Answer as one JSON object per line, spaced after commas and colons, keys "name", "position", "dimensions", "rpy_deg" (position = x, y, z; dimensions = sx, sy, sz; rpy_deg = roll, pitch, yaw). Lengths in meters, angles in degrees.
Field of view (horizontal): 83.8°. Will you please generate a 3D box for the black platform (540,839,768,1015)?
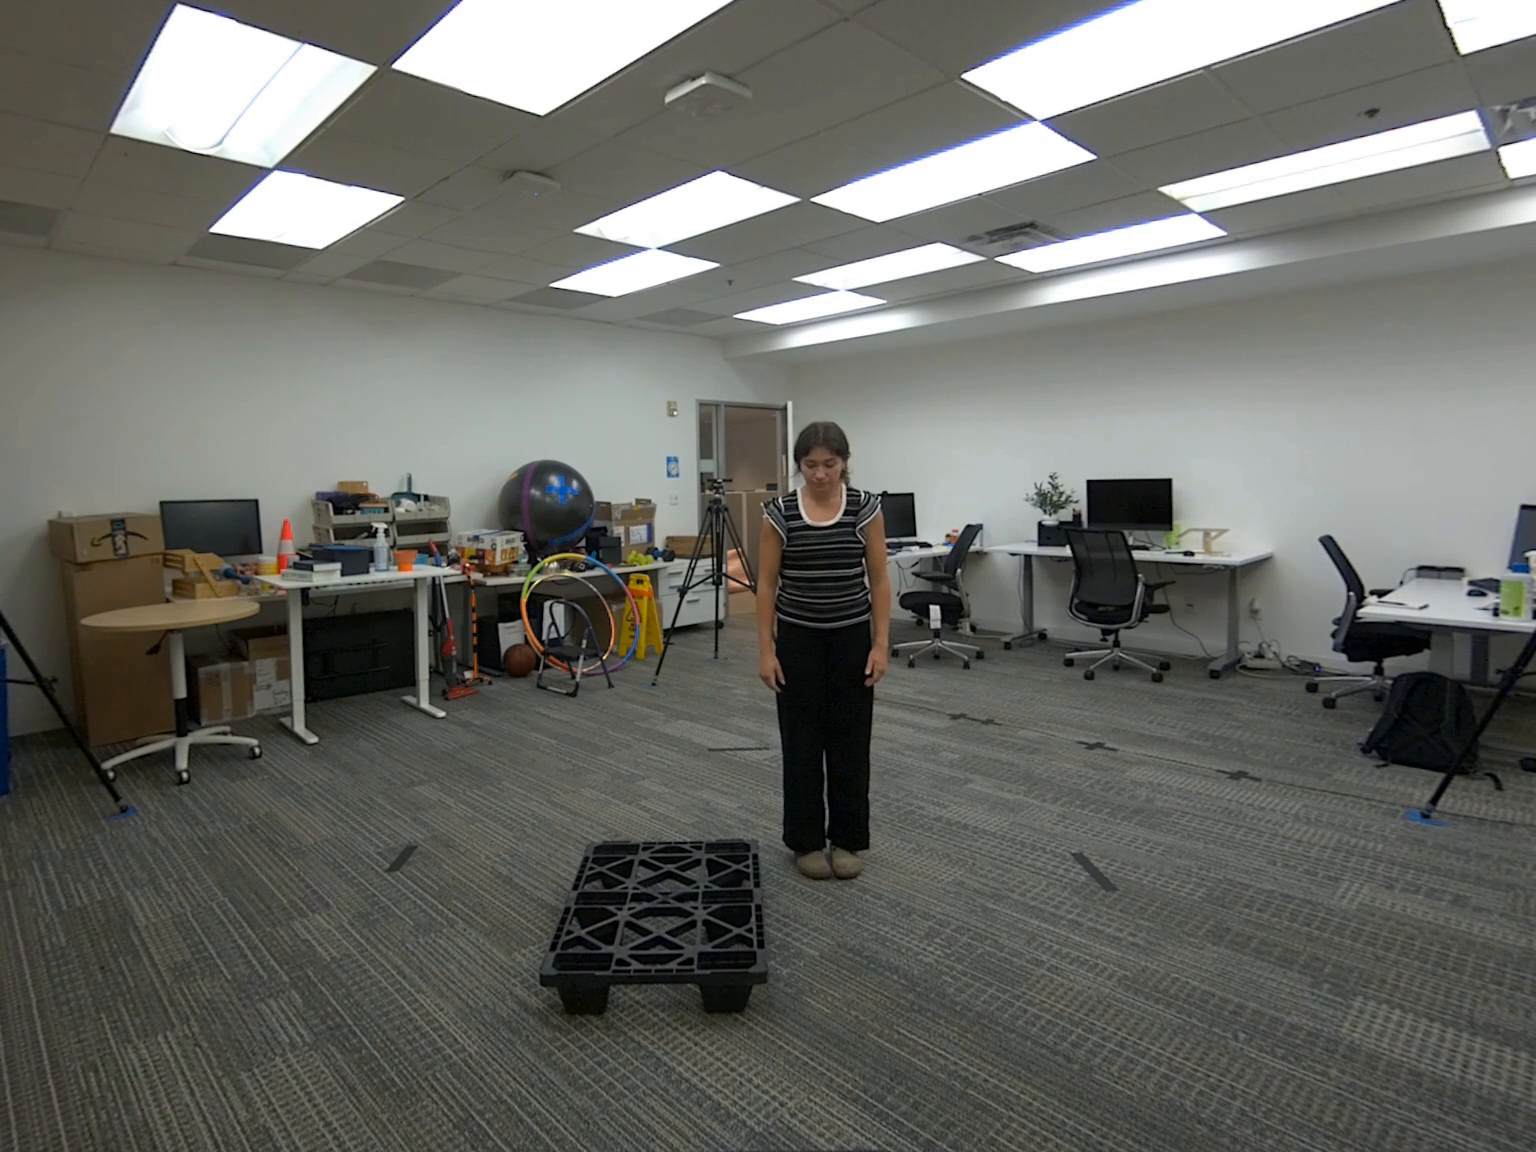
{"name": "black platform", "position": [-0.312, 1.043, 2.601], "dimensions": [0.605, 0.142, 0.810], "rpy_deg": [-2, 6, -1]}
